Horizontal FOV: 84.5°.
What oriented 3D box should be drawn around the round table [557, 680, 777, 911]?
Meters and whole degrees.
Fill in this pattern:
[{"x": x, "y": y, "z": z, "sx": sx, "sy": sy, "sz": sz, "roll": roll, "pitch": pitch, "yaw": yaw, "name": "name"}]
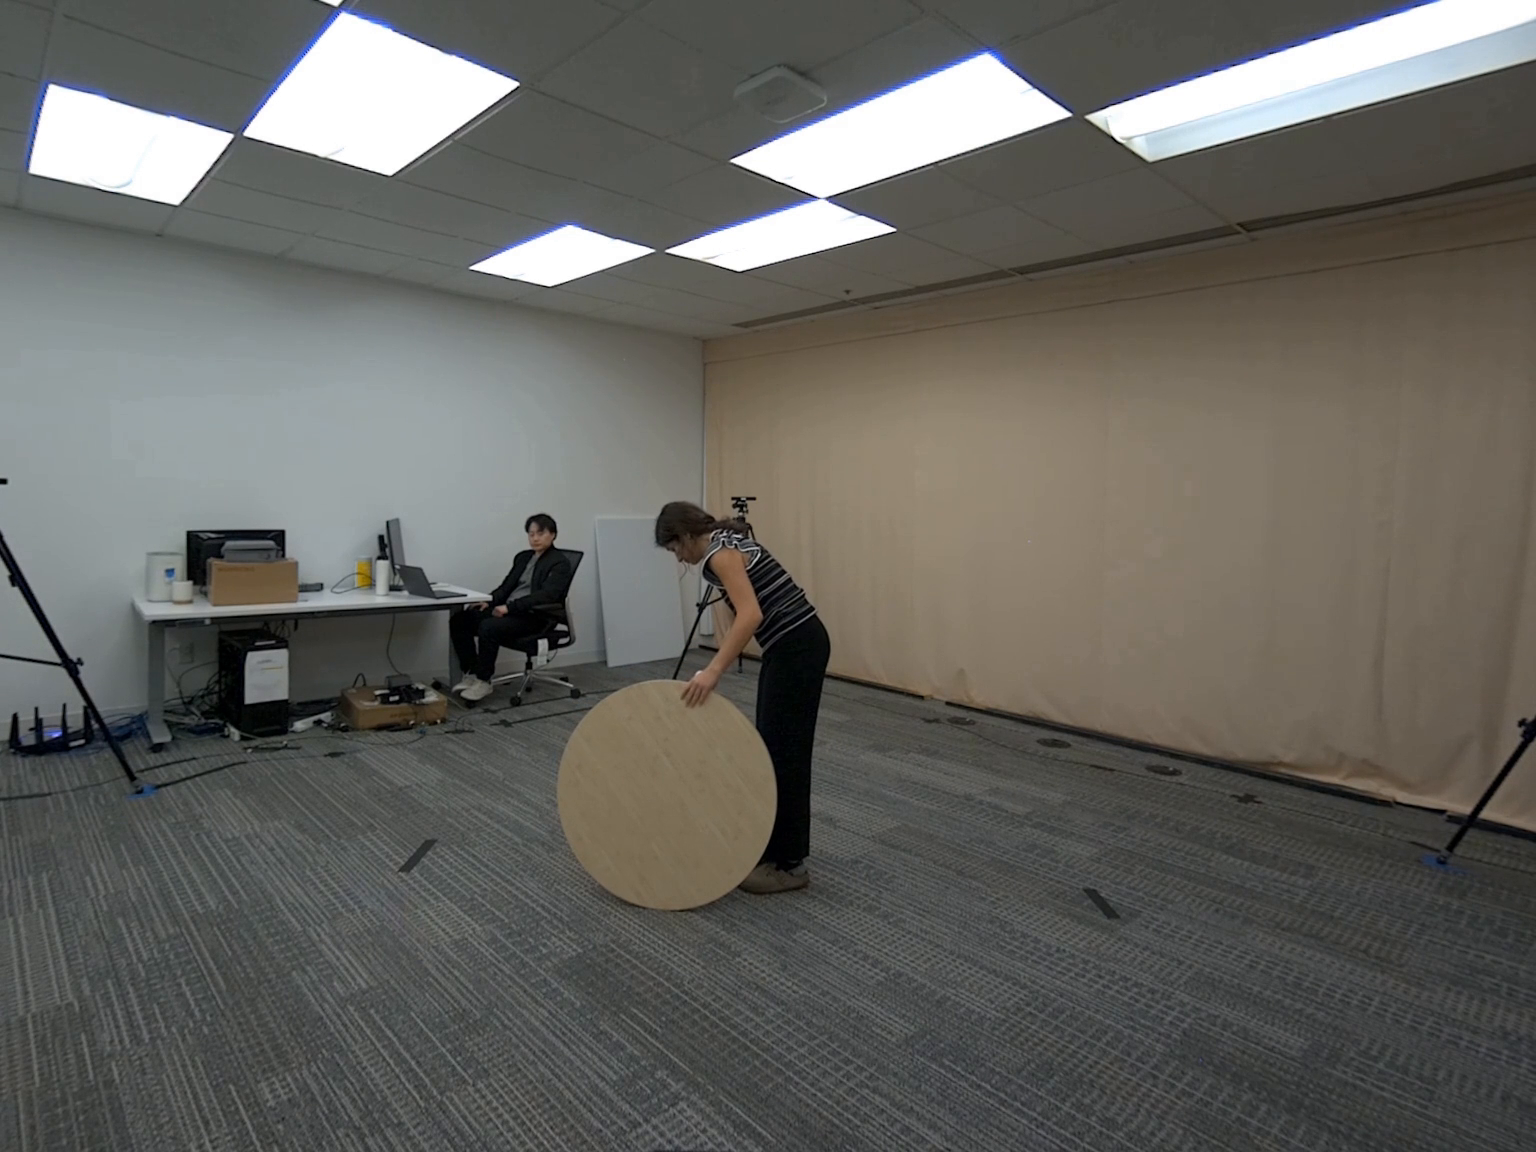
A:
[{"x": -0.323, "y": 0.761, "z": 3.254, "sx": 0.769, "sy": 0.765, "sz": 0.787, "roll": 2, "pitch": -2, "yaw": 7, "name": "round table"}]
